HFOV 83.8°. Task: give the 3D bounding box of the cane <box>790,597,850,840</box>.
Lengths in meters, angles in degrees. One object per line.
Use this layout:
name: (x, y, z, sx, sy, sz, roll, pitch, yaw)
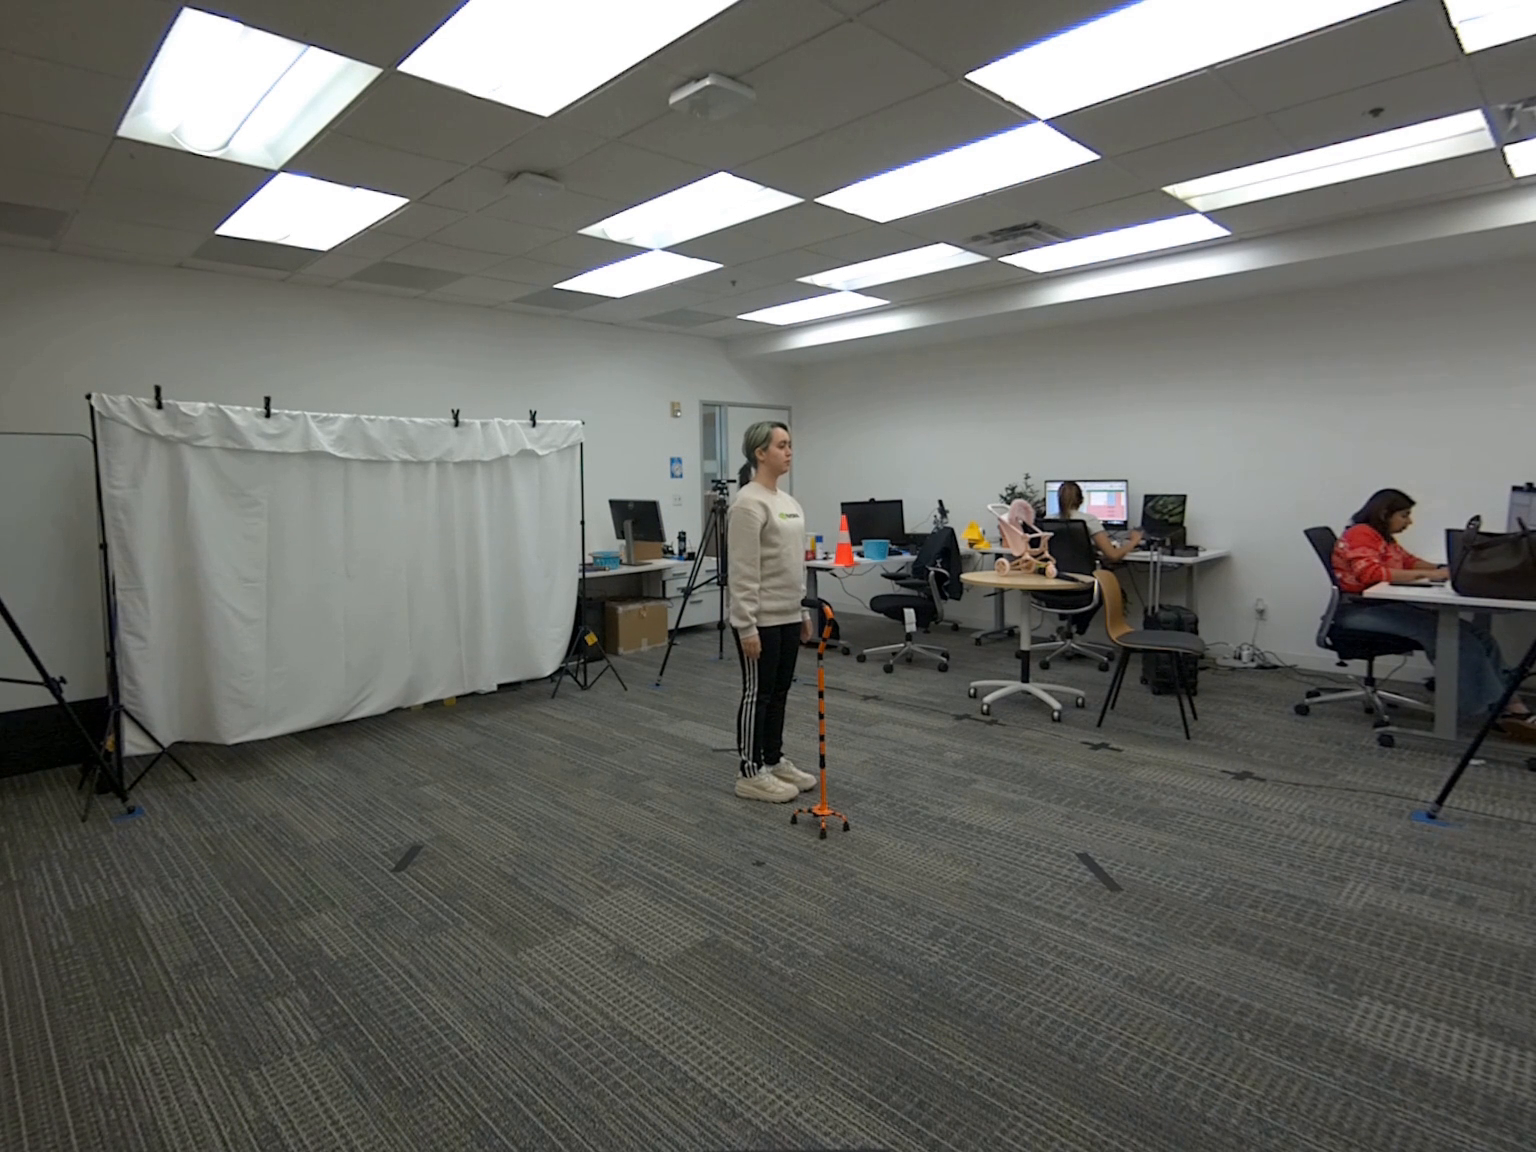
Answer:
cane: (0.207, 0.557, 3.403, 0.148, 0.904, 0.213, -3, 6, -35)
